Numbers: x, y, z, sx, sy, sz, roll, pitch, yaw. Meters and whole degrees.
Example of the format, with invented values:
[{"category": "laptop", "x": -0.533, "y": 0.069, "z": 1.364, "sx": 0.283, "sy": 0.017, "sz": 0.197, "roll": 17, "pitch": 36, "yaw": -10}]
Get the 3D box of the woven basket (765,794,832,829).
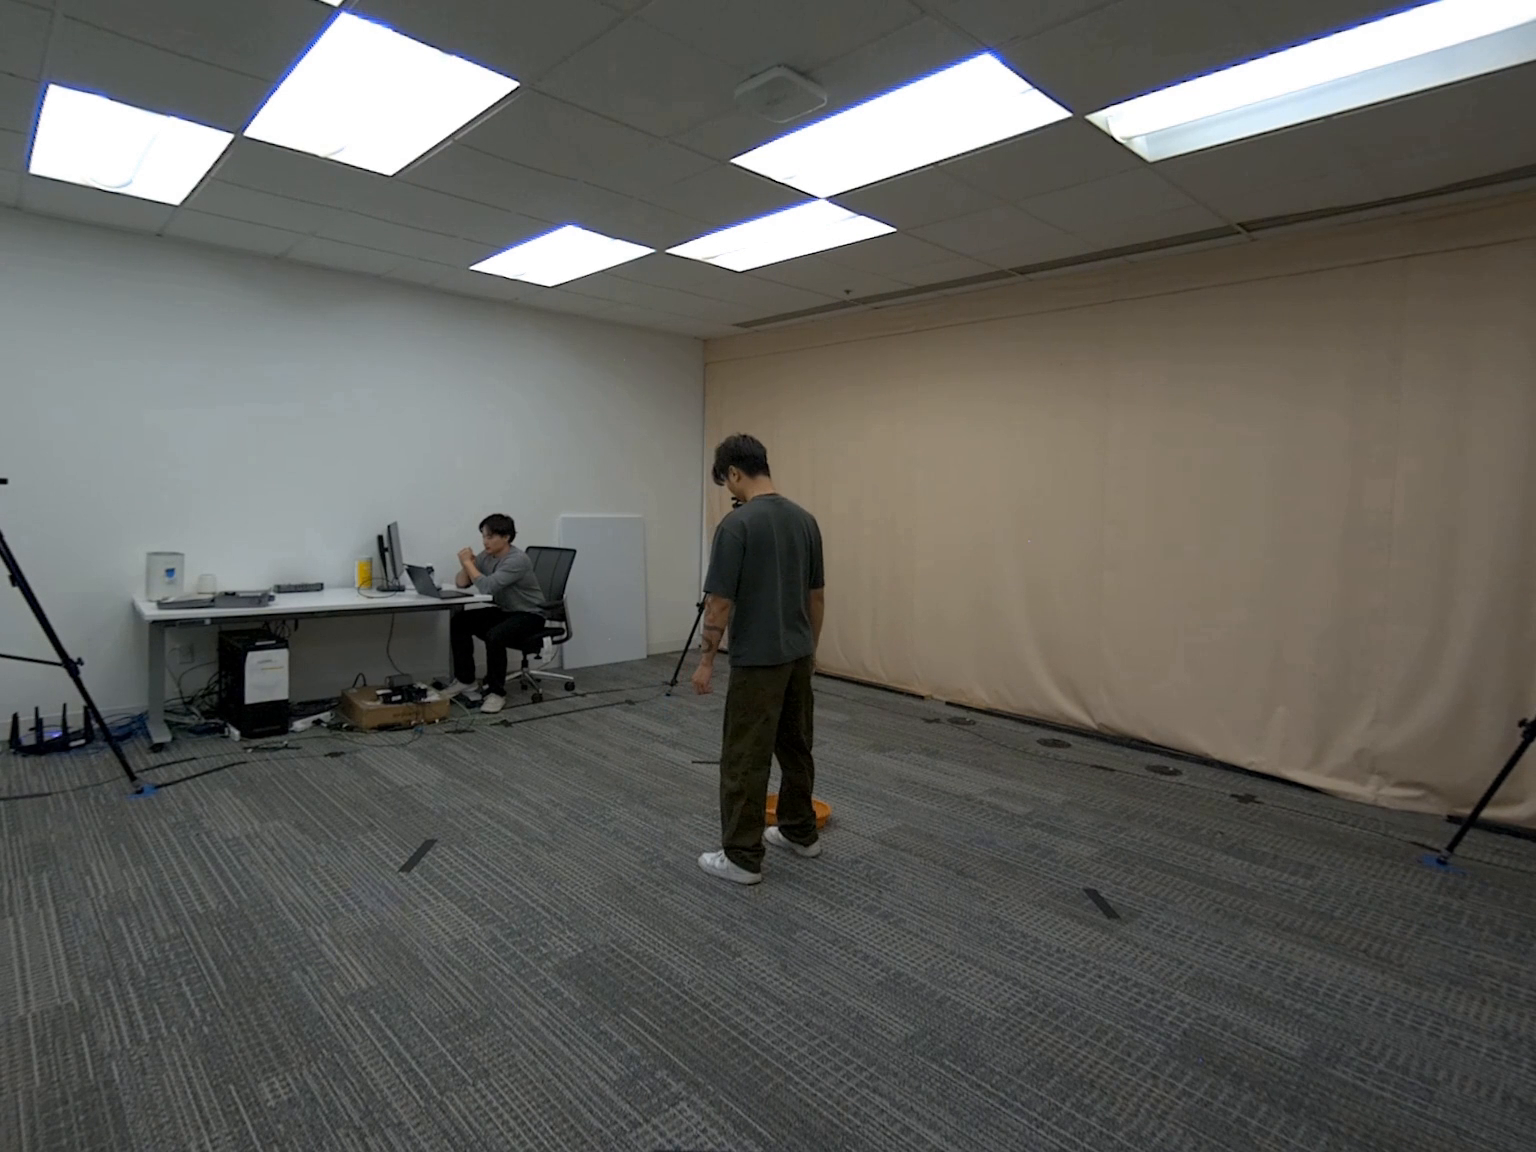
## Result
[{"category": "woven basket", "x": 0.094, "y": 1.029, "z": 3.662, "sx": 0.358, "sy": 0.073, "sz": 0.247, "roll": 4, "pitch": 5, "yaw": 29}]
